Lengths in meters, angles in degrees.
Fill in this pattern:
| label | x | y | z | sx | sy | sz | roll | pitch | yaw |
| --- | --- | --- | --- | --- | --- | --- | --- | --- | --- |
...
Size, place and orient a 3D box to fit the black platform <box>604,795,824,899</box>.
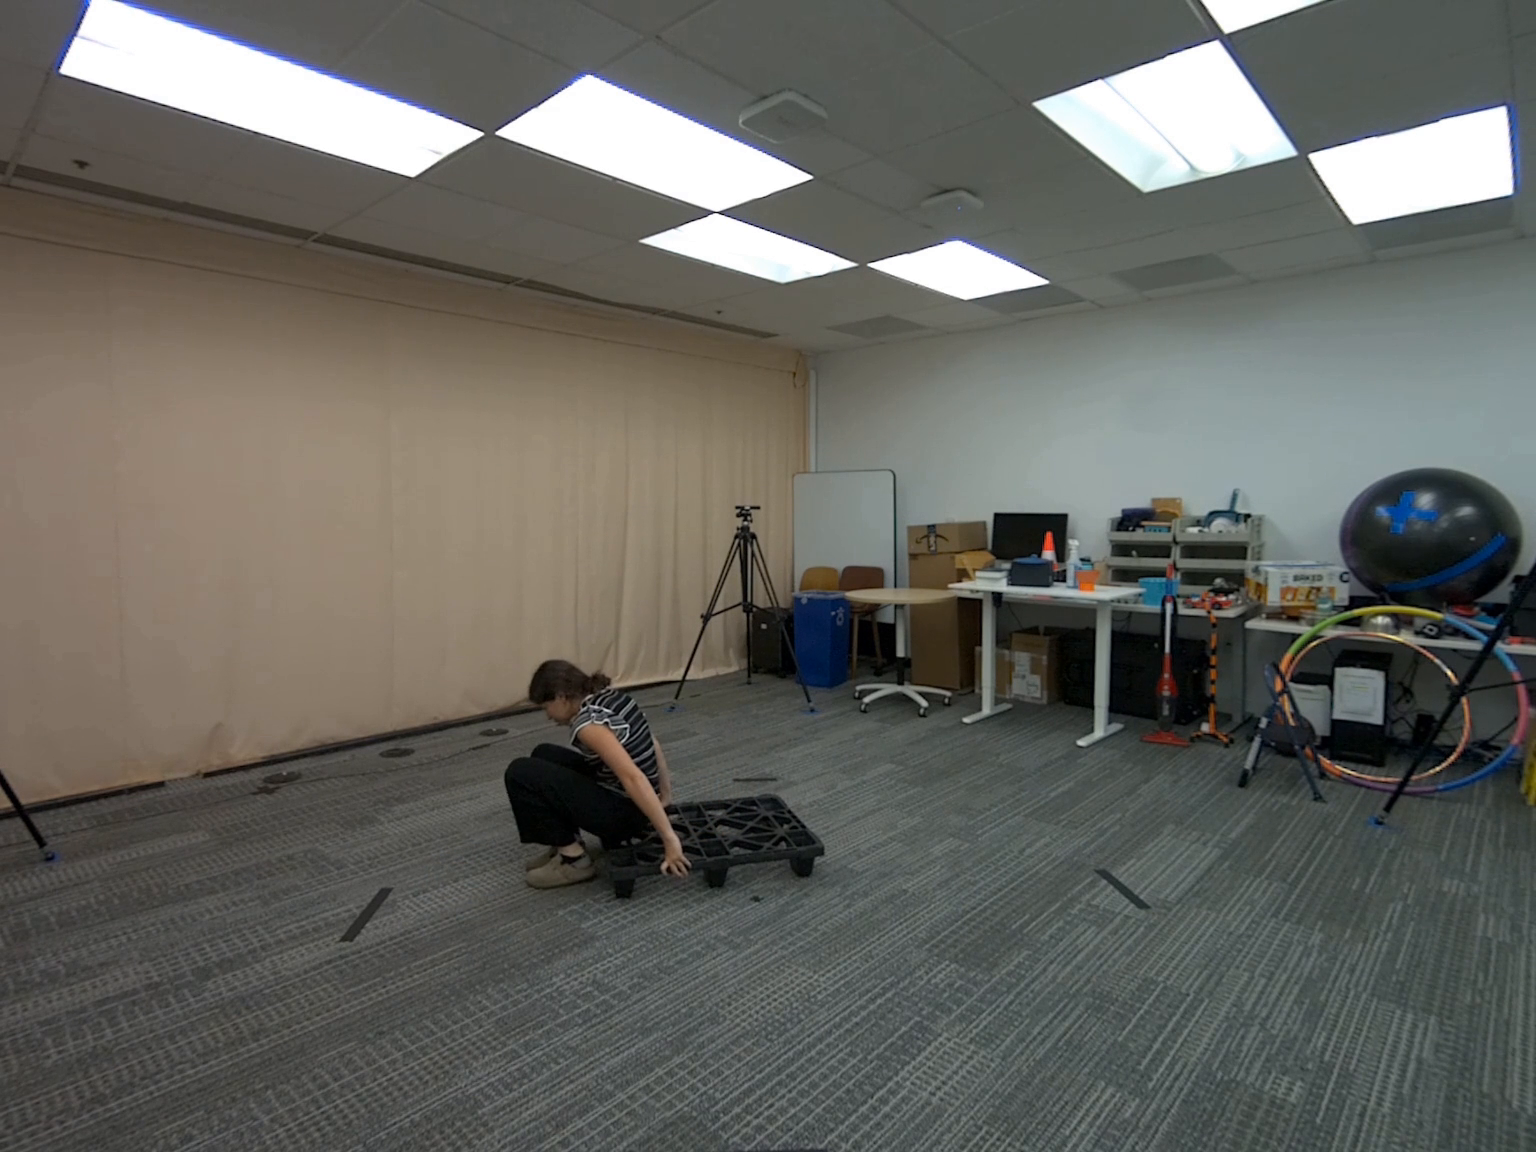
| label | x | y | z | sx | sy | sz | roll | pitch | yaw |
| --- | --- | --- | --- | --- | --- | --- | --- | --- | --- |
| black platform | -0.255 | 1.053 | 3.298 | 0.794 | 0.143 | 0.615 | -2 | 4 | -15 |
